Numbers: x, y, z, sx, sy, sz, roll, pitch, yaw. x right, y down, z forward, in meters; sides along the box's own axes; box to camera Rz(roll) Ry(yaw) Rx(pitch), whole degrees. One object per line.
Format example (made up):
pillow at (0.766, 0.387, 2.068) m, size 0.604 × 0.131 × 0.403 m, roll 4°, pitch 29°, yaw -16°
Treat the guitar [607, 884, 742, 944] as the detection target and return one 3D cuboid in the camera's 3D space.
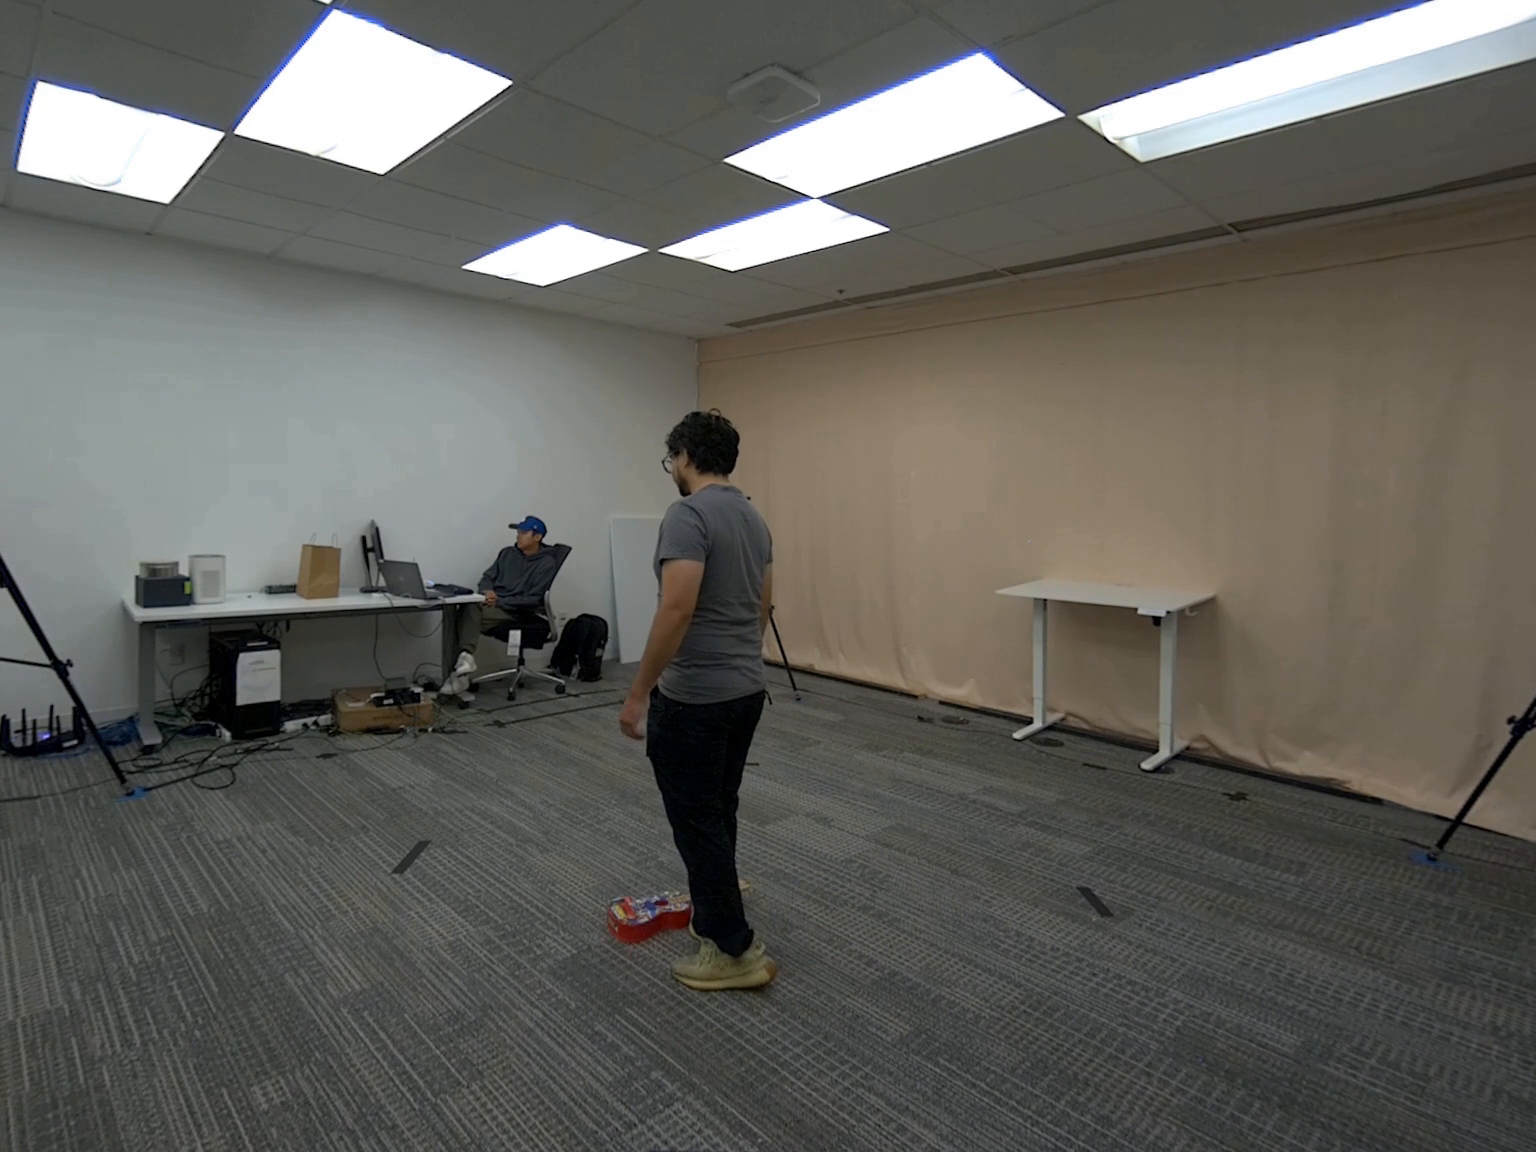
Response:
guitar at (-0.278, 1.099, 2.768) m, size 0.491 × 0.070 × 0.196 m, roll -1°, pitch 5°, yaw -19°
